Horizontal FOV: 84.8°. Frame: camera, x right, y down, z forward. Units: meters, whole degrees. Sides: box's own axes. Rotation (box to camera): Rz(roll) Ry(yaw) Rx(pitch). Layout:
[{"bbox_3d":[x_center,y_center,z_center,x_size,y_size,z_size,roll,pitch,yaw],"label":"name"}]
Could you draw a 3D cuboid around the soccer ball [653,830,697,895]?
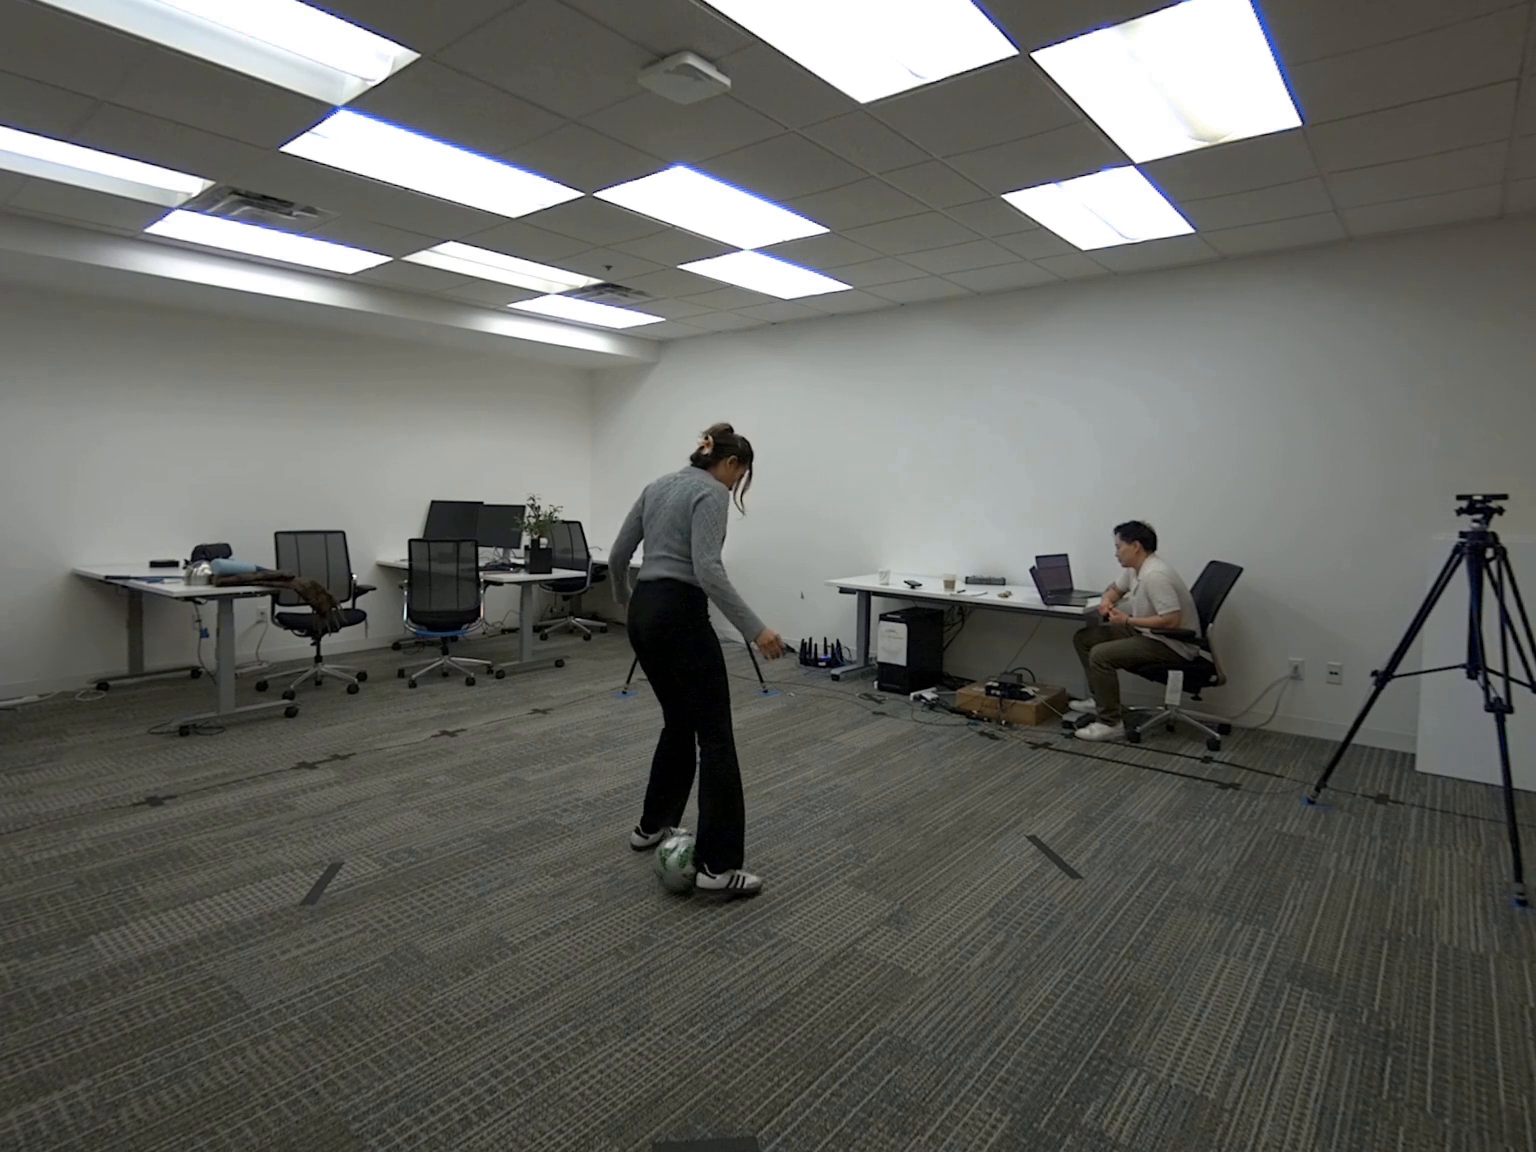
[{"bbox_3d":[-0.319,0.981,2.958,0.187,0.187,0.188,1,4,-2],"label":"soccer ball"}]
